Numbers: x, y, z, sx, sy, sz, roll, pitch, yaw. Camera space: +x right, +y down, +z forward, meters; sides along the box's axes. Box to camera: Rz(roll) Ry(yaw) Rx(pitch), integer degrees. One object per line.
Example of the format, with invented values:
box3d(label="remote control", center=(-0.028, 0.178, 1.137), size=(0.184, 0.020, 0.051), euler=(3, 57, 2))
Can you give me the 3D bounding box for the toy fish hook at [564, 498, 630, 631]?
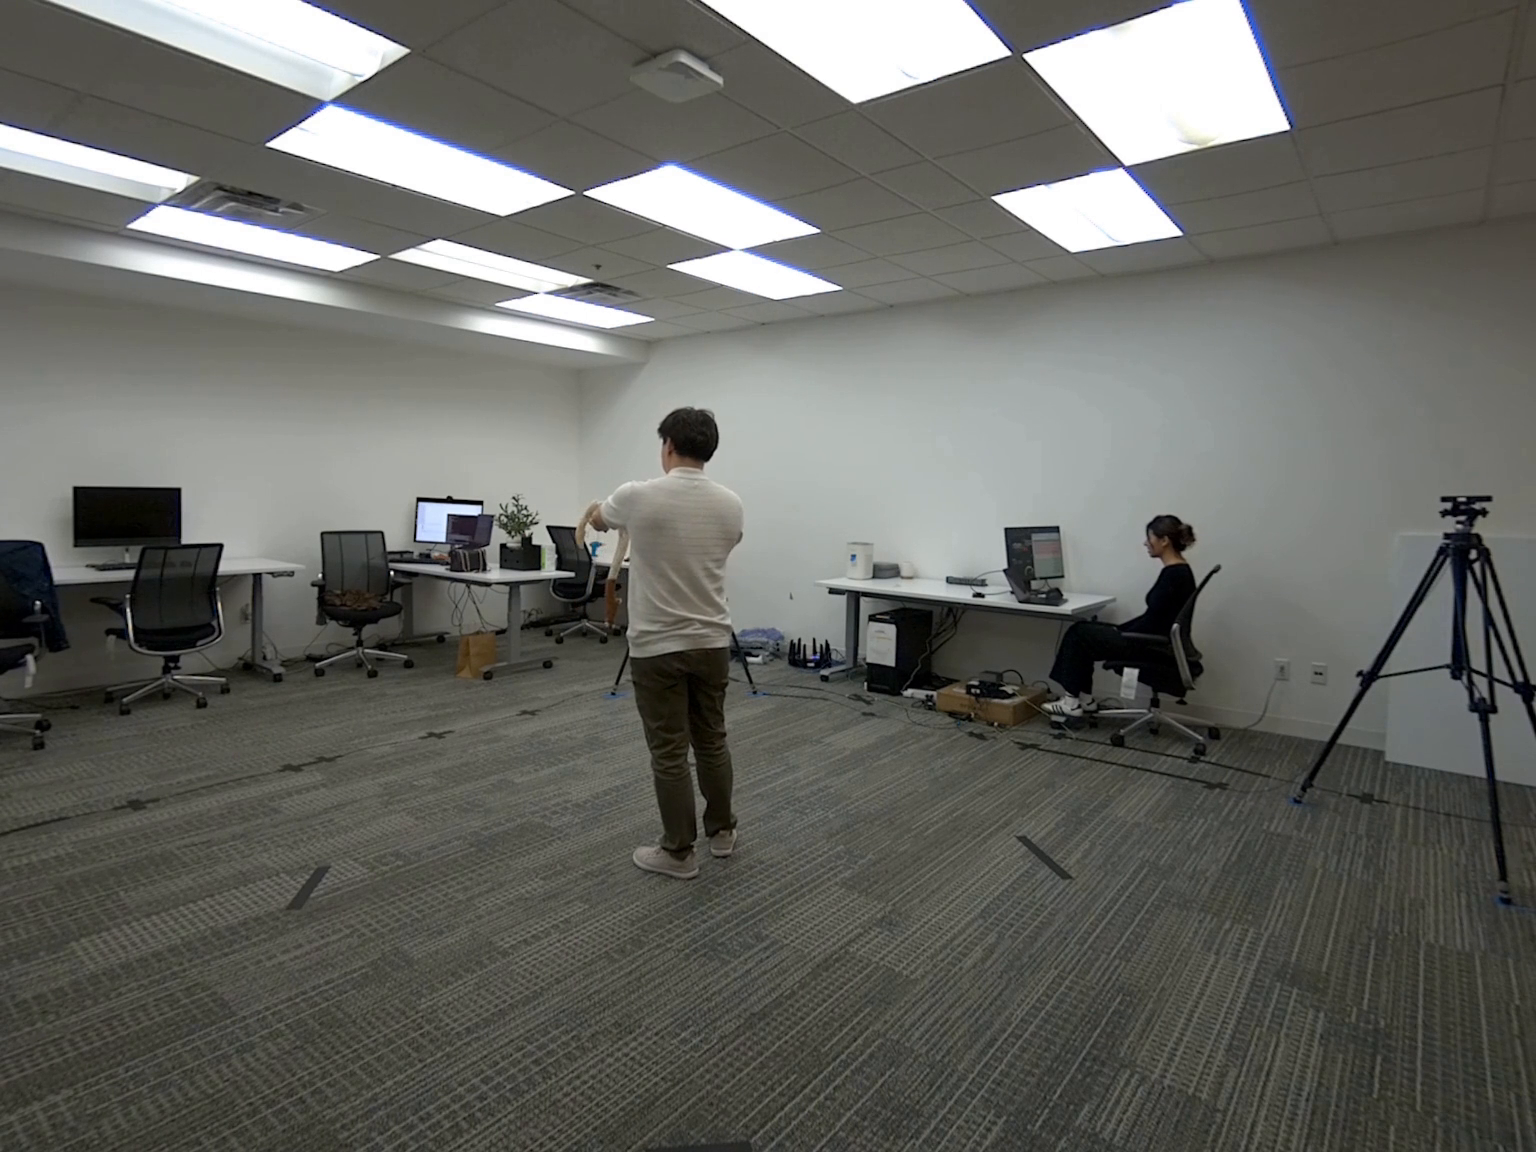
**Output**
box3d(label="toy fish hook", center=(-0.676, -0.046, 3.352), size=(0.219, 0.508, 0.049), euler=(6, -4, -22))
